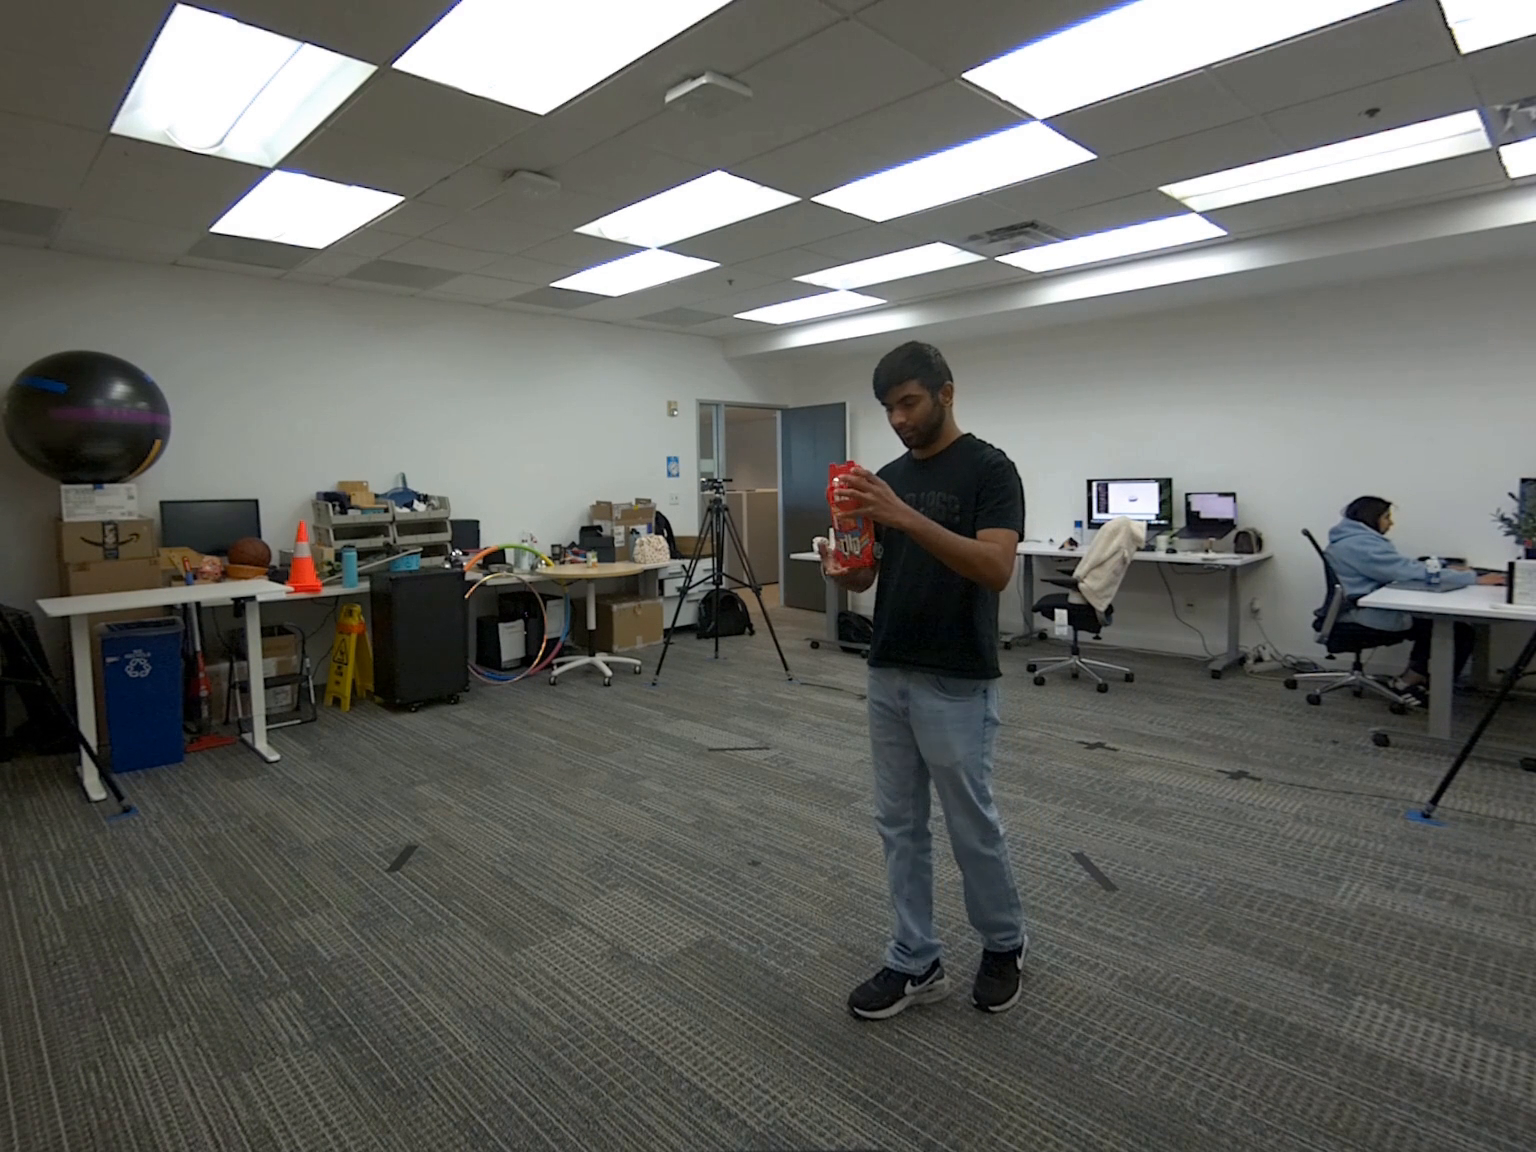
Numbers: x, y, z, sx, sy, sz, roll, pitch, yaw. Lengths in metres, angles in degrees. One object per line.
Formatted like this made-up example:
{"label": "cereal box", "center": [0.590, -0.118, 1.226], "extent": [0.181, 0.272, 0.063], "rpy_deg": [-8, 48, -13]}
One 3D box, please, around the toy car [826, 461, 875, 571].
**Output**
{"label": "toy car", "center": [0.216, -0.148, 2.041], "extent": [0.134, 0.253, 0.081], "rpy_deg": [-5, 10, 44]}
